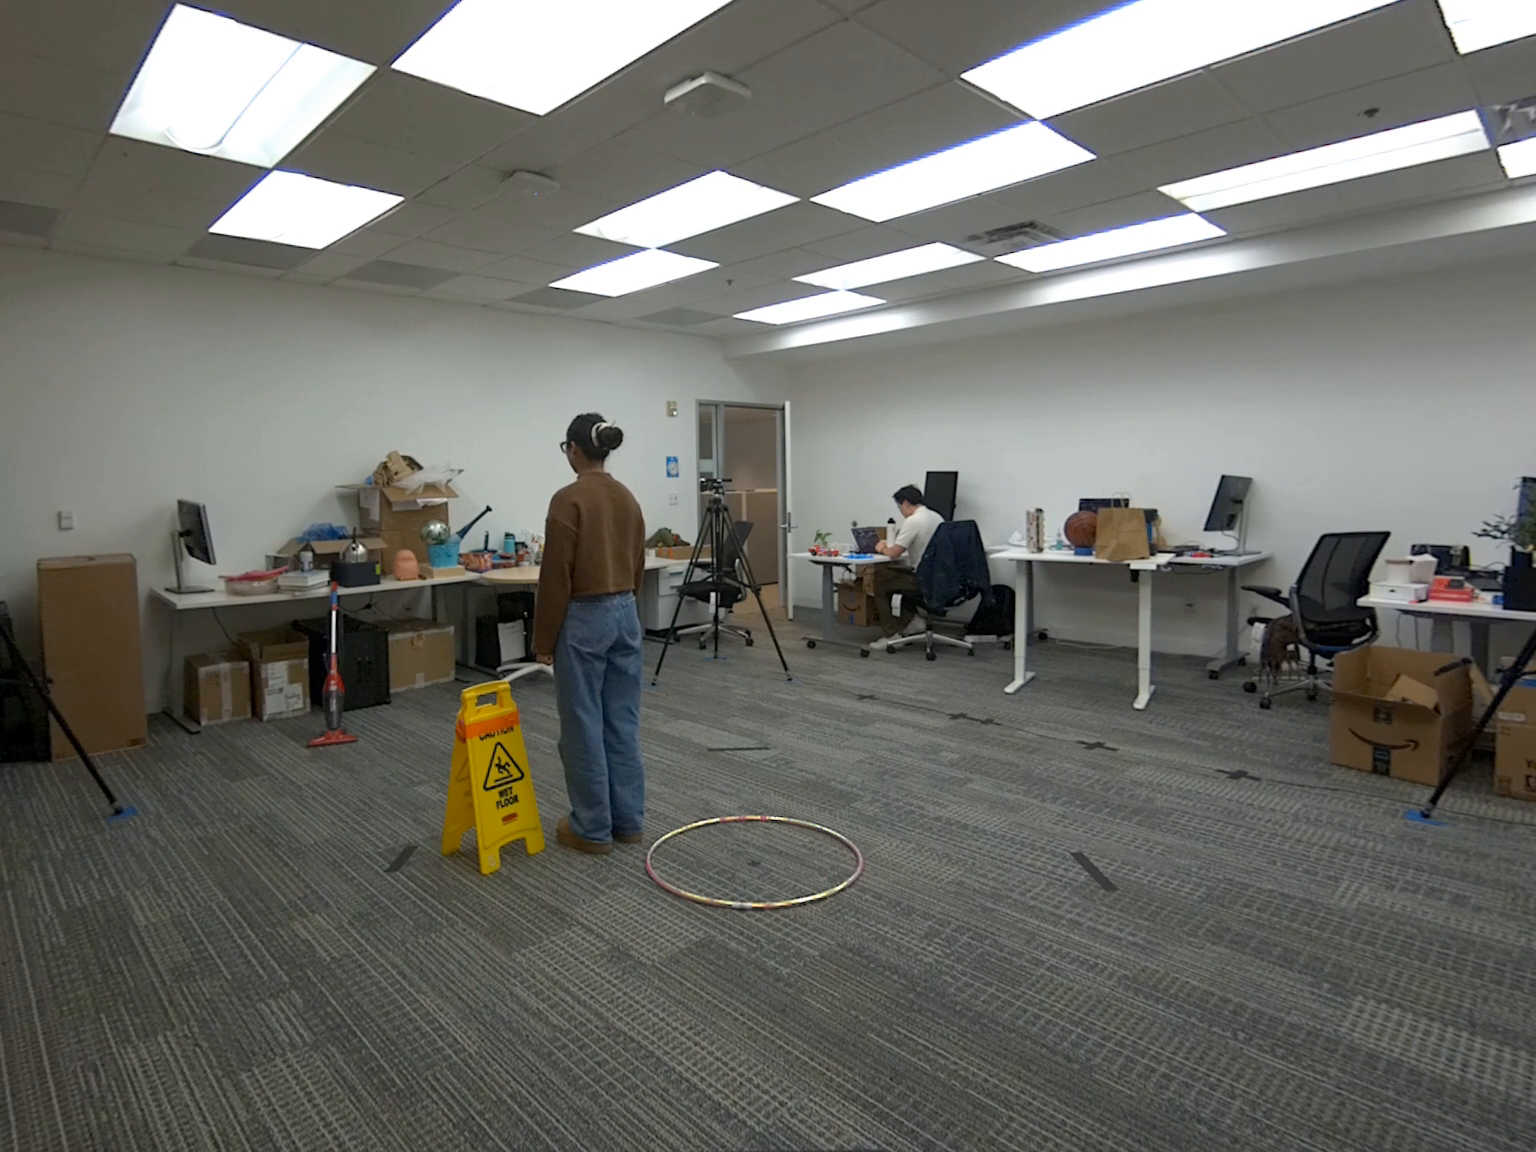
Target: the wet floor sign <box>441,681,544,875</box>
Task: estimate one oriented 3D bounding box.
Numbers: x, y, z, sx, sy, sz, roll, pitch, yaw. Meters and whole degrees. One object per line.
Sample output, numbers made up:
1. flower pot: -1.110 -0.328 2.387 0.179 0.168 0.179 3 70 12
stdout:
1. wet floor sign: -1.055 0.729 3.224 0.298 0.644 0.275 2 4 39
